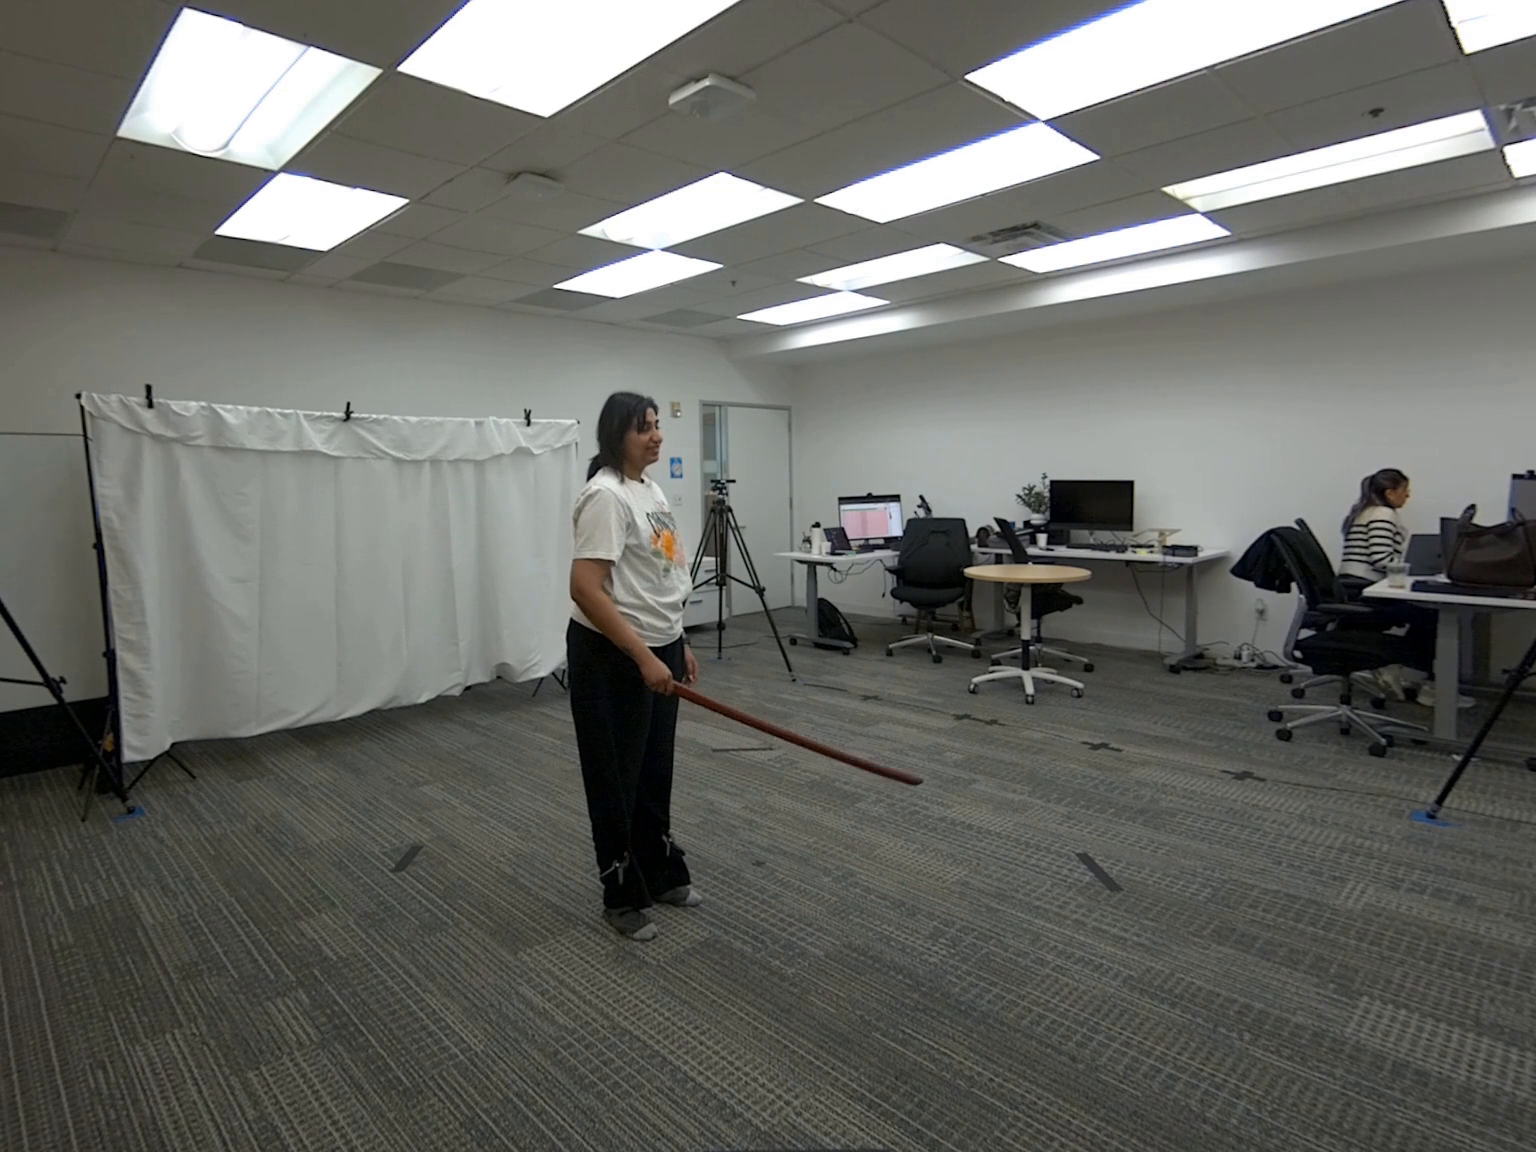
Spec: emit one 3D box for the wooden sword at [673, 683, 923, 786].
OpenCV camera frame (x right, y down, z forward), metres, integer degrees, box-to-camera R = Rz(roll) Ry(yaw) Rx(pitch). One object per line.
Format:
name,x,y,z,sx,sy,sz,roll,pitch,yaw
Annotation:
wooden sword,0.069,0.504,2.700,1.004,0.051,0.025,24,26,-16
